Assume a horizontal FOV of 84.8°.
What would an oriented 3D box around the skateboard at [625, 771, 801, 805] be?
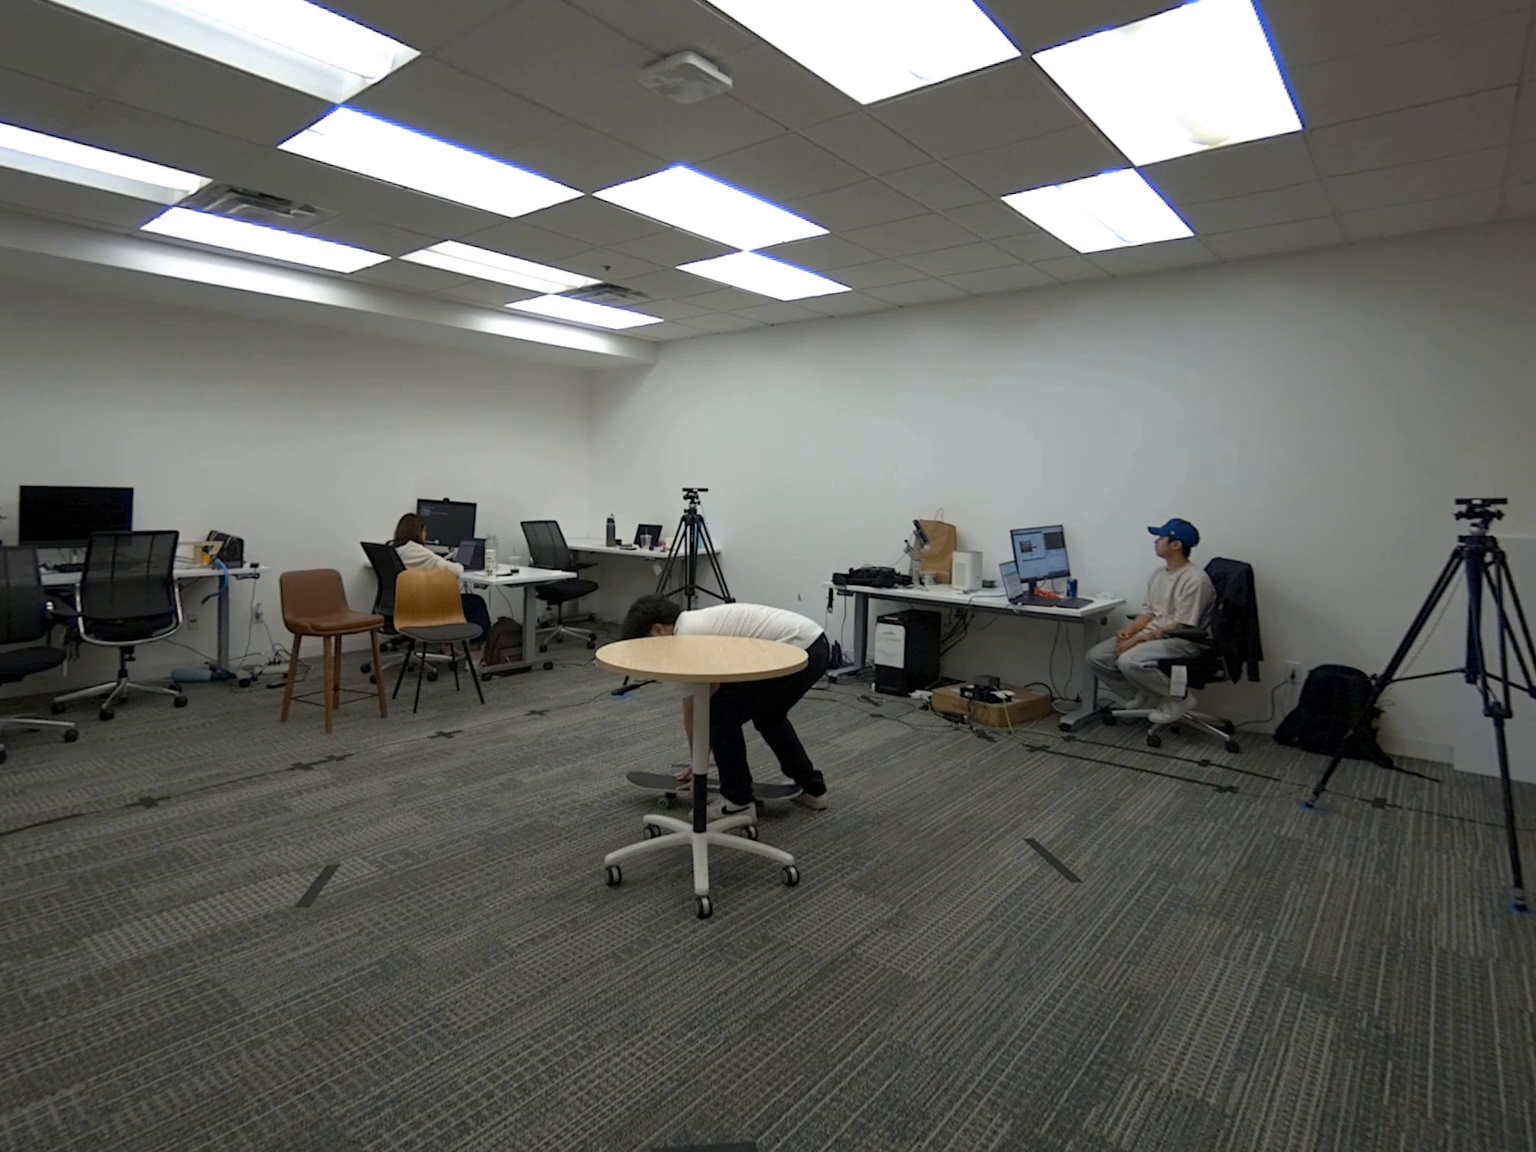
[{"bbox_3d":[-0.256,0.955,3.738,0.794,0.110,0.192,3,4,10],"label":"skateboard"}]
